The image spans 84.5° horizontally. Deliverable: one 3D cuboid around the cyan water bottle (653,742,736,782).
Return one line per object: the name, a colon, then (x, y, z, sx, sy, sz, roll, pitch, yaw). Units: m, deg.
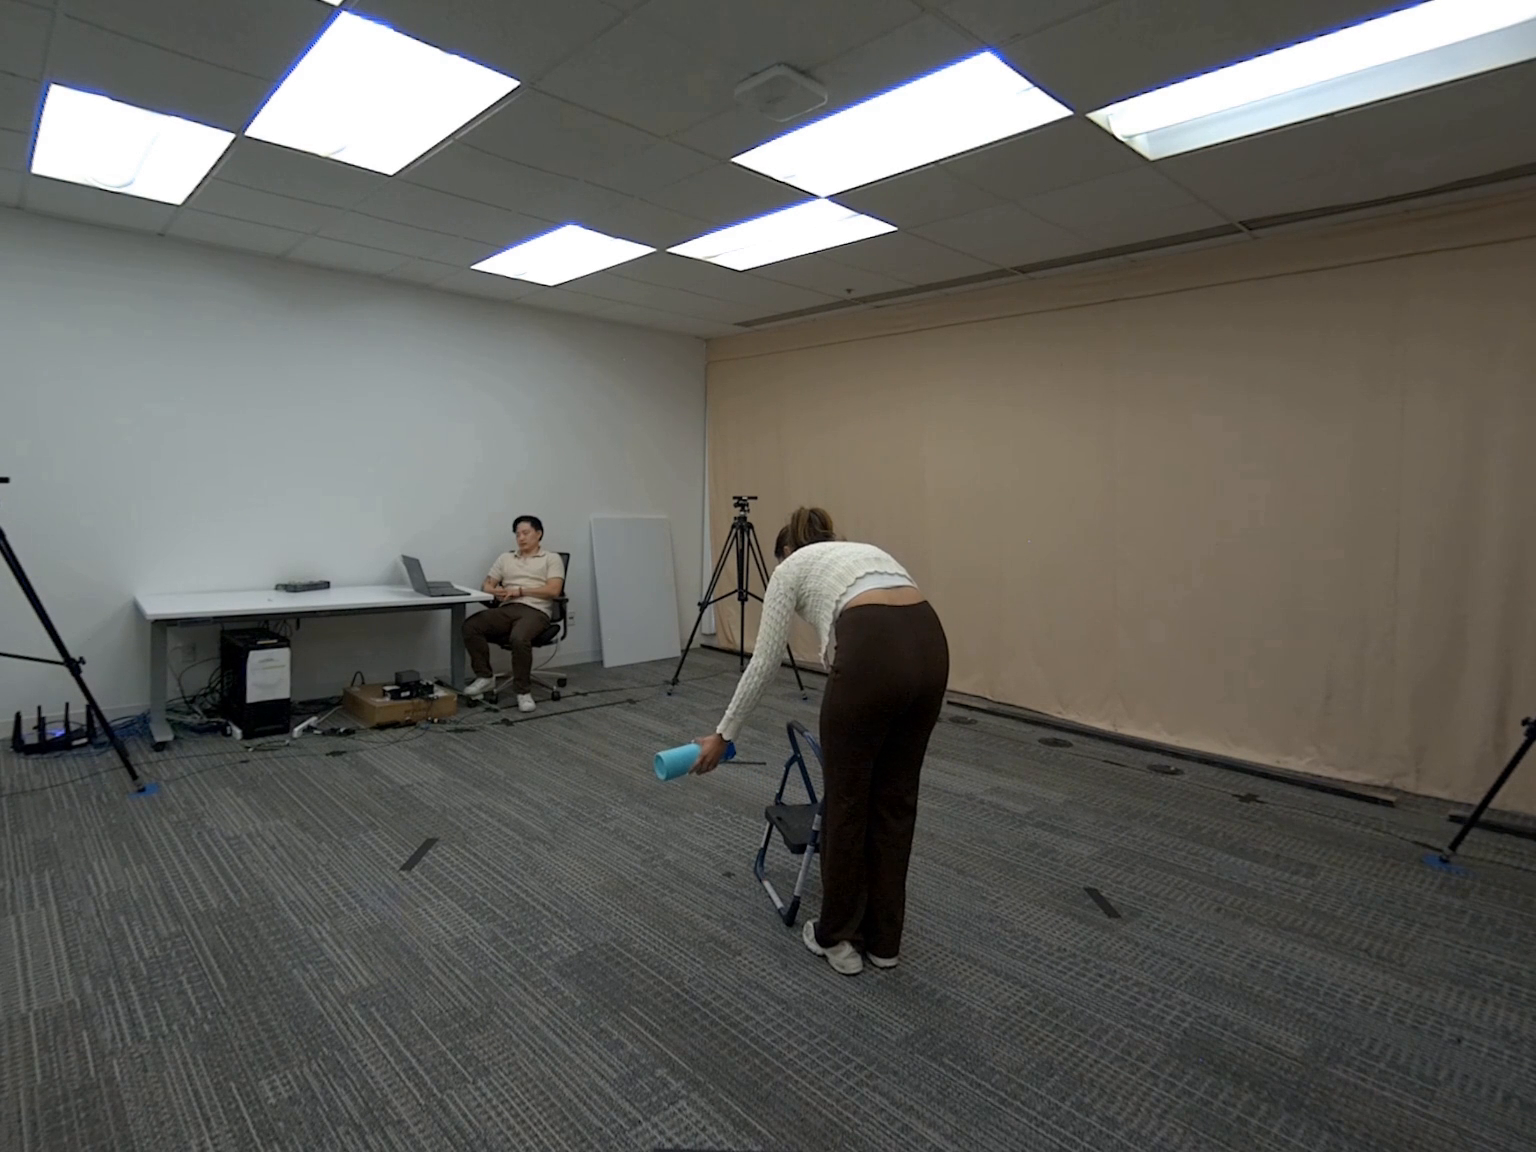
cyan water bottle: (-0.228, 0.591, 2.736, 0.278, 0.092, 0.094, -8, 9, -33)
